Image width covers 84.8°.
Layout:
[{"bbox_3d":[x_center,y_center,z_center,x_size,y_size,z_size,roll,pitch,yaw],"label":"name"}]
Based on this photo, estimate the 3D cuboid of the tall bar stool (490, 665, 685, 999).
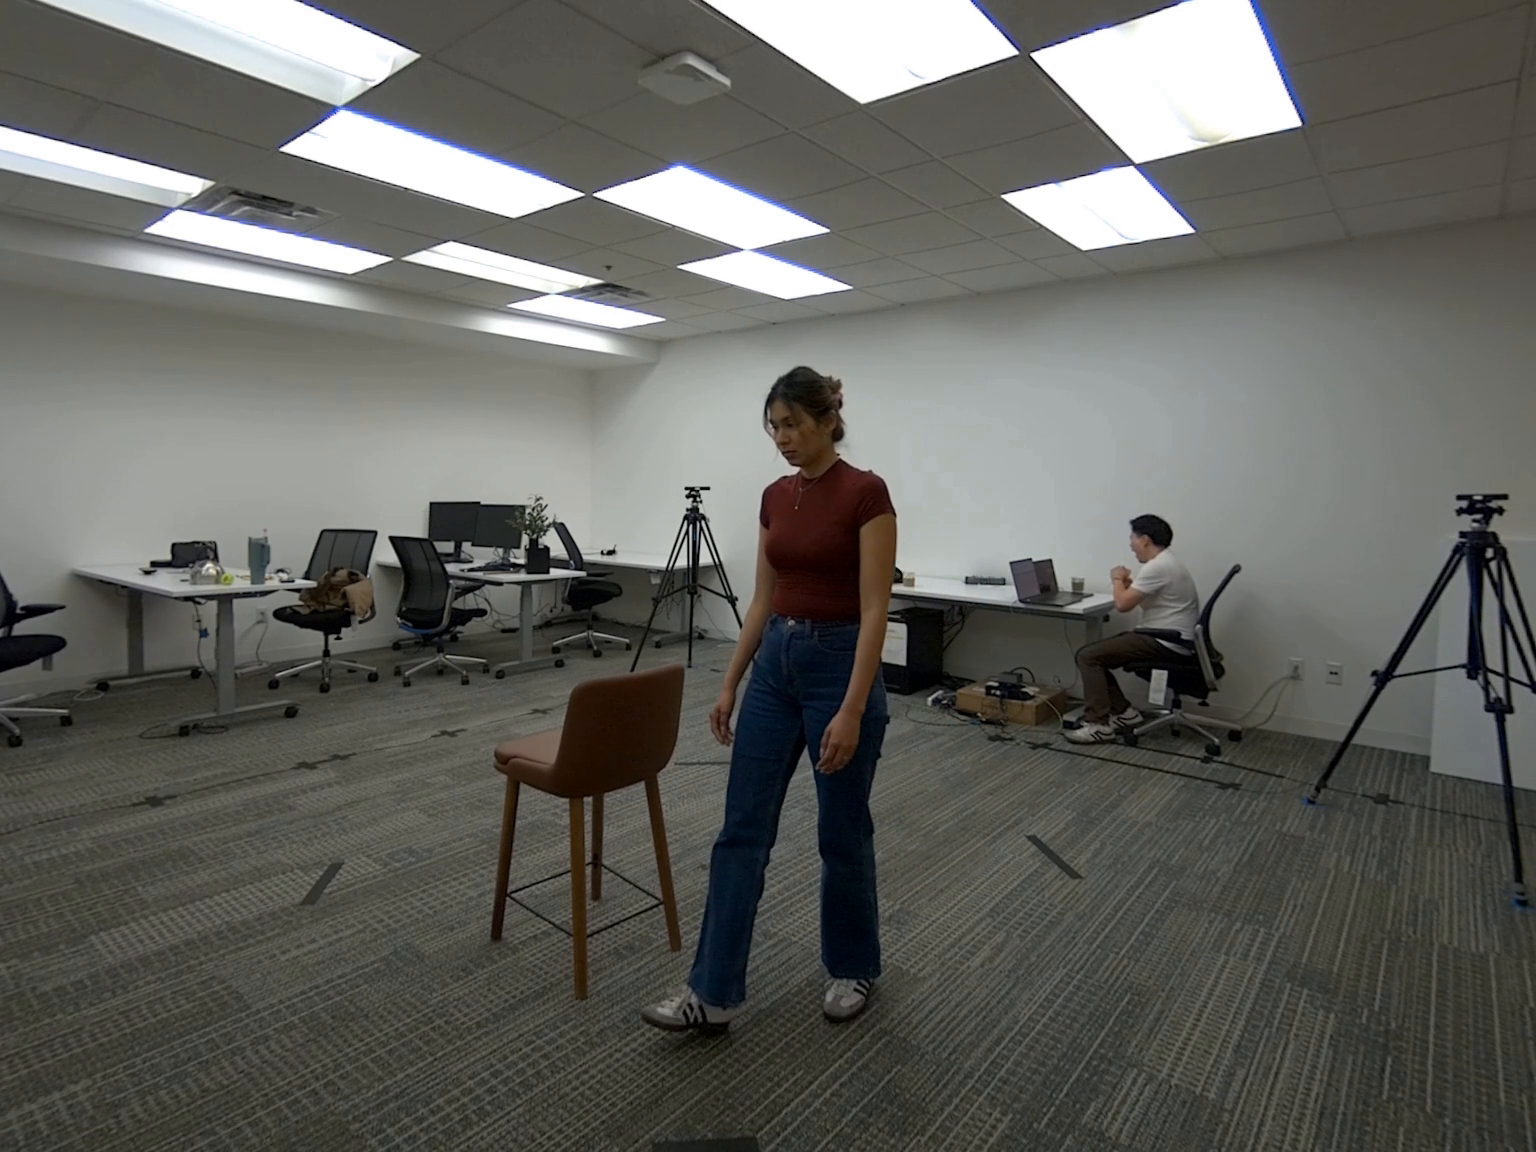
[{"bbox_3d":[-0.549,0.682,2.554,0.484,0.886,0.443,7,7,43],"label":"tall bar stool"}]
